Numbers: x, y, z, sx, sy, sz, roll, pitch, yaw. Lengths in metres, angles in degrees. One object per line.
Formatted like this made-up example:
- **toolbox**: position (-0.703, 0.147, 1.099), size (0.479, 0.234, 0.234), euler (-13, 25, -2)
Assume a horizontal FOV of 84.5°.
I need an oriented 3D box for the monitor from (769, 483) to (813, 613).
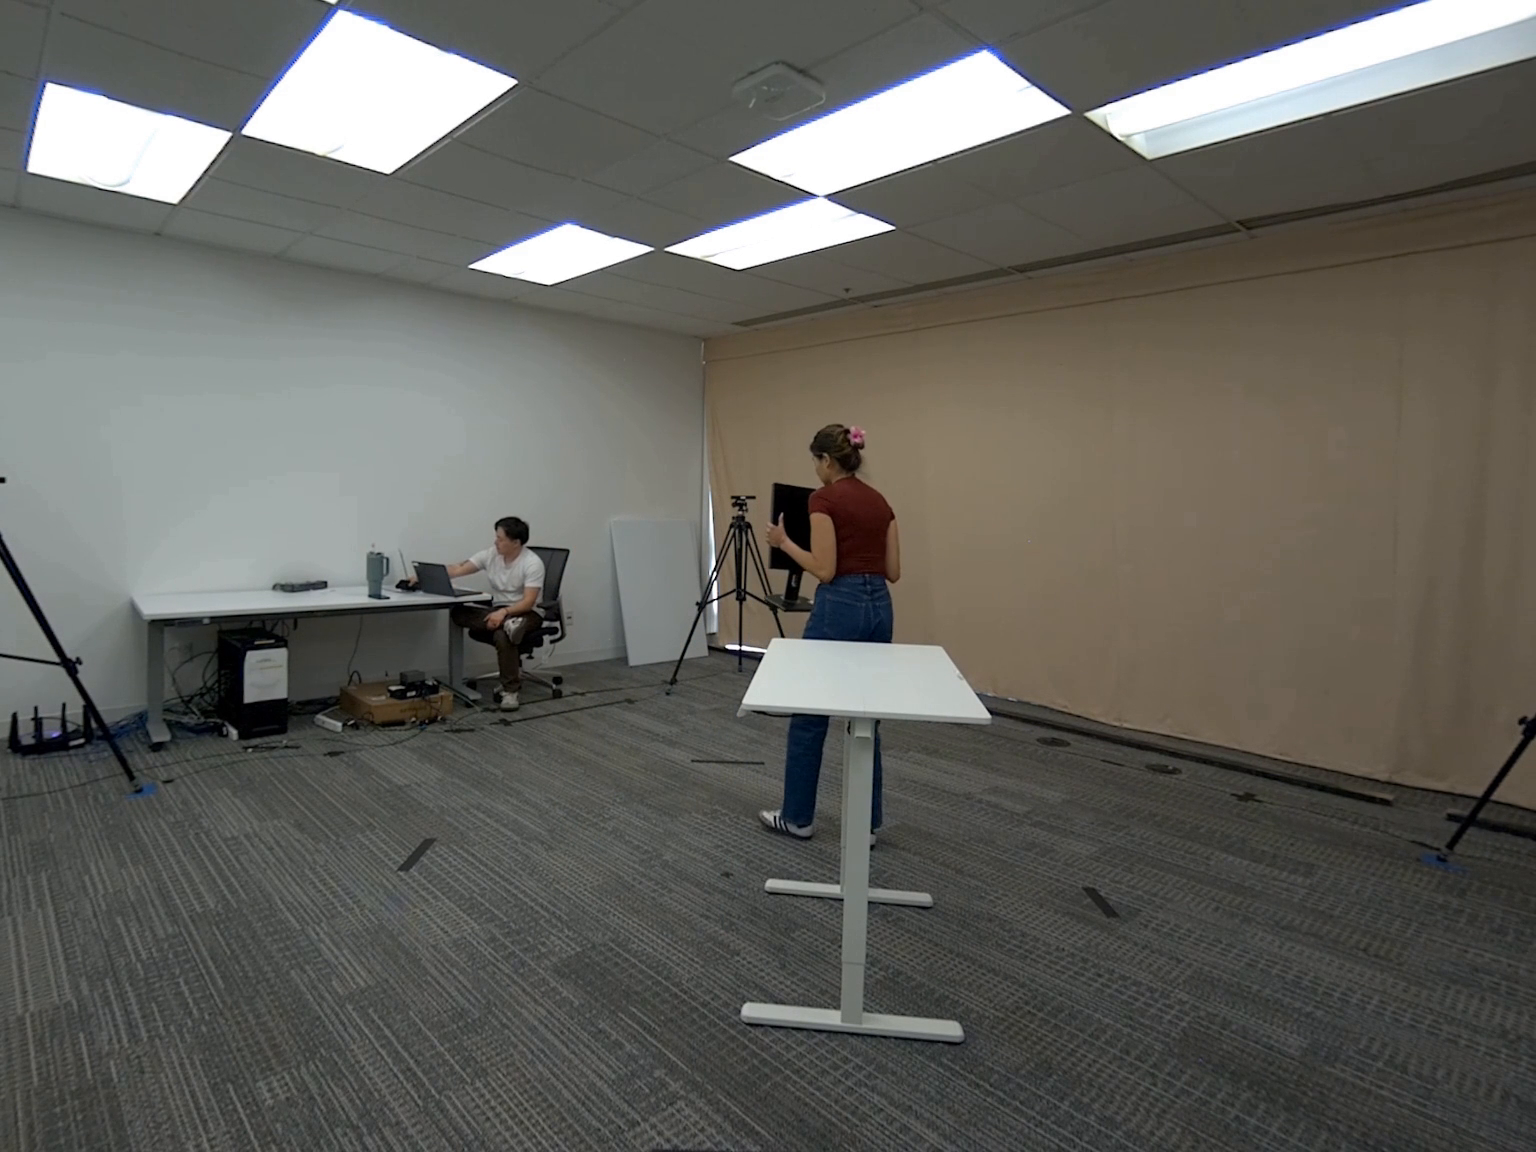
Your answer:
- **monitor**: position (0.173, -0.113, 3.632), size (0.525, 0.520, 0.193), euler (5, 13, -41)
